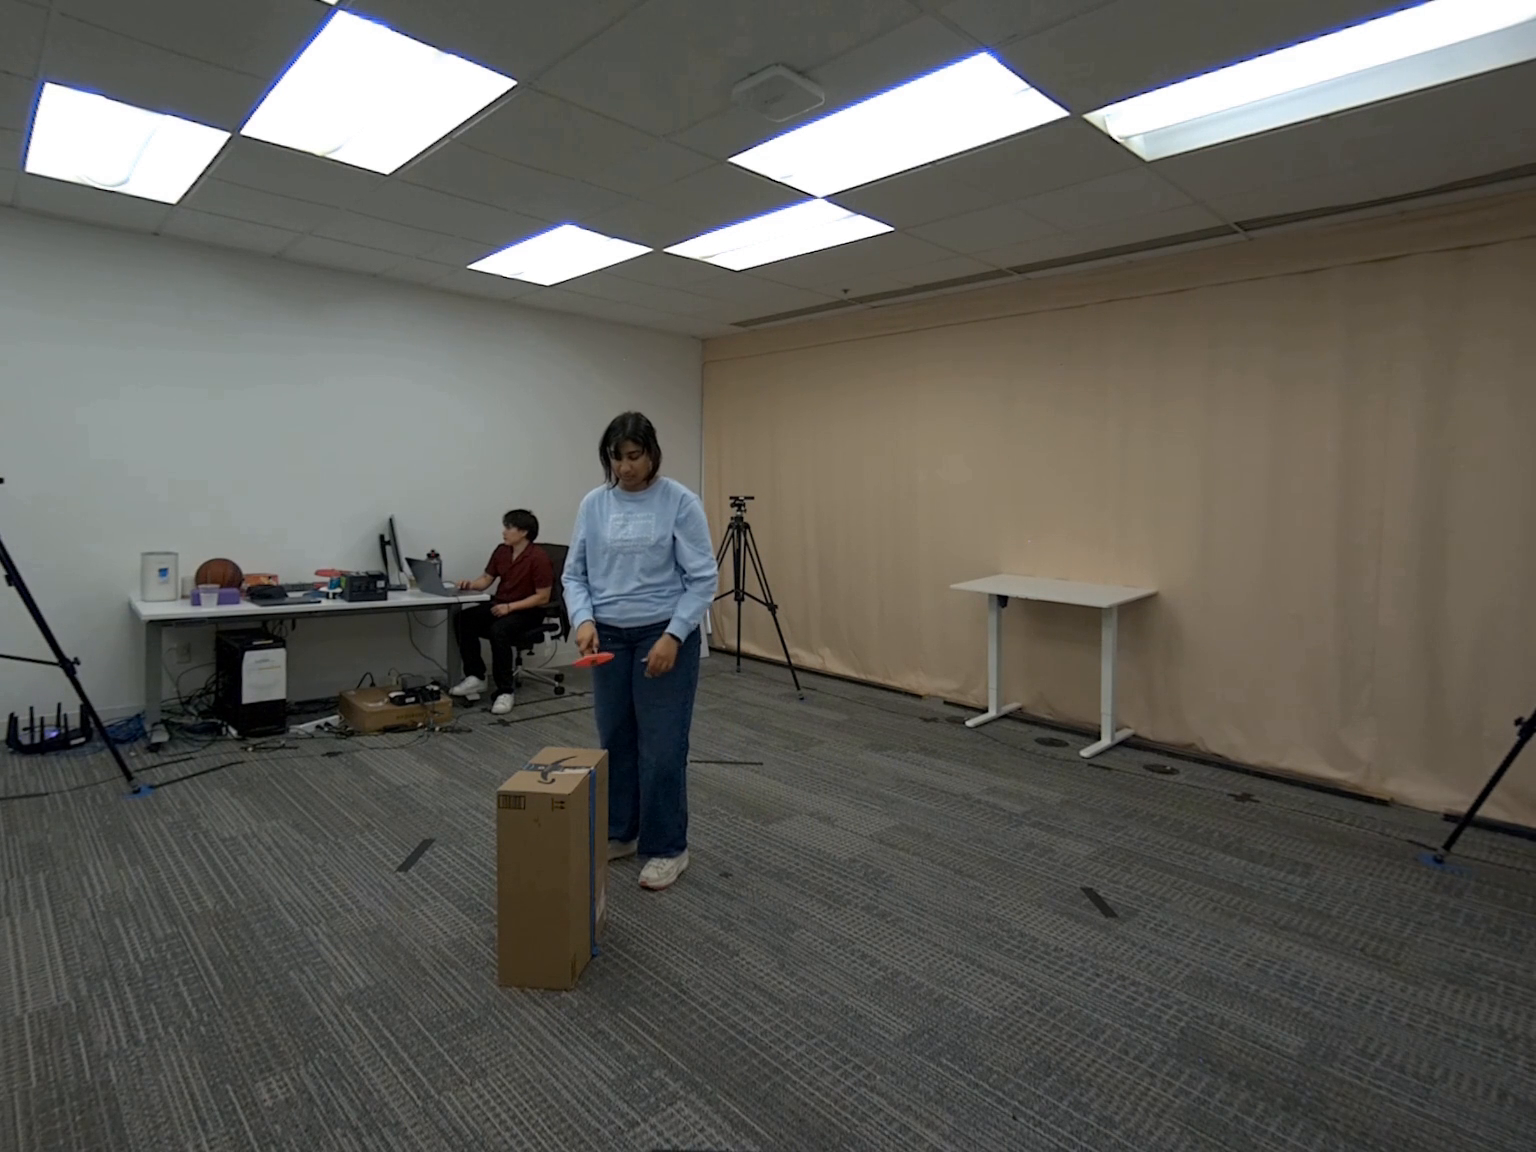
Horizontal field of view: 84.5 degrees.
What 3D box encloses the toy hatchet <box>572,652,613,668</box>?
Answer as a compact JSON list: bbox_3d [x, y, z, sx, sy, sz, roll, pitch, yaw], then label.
[{"bbox_3d":[-0.545,0.259,2.738,0.131,0.029,0.271,-12,6,0],"label":"toy hatchet"}]
